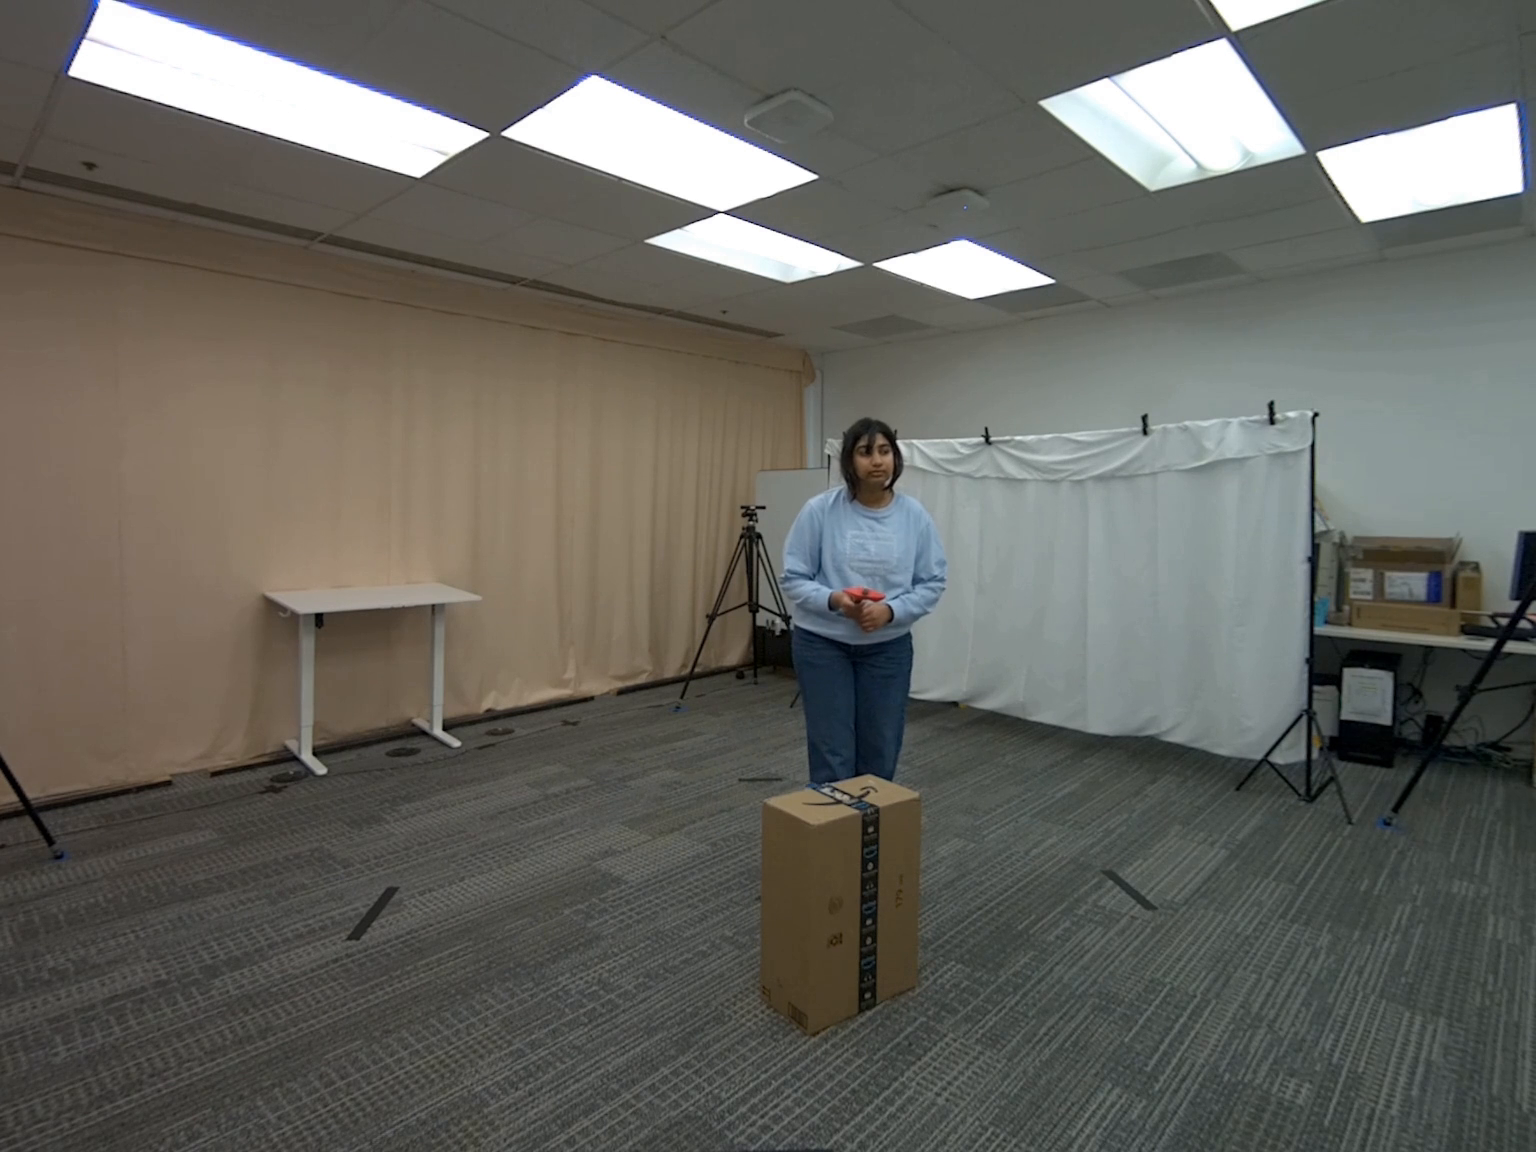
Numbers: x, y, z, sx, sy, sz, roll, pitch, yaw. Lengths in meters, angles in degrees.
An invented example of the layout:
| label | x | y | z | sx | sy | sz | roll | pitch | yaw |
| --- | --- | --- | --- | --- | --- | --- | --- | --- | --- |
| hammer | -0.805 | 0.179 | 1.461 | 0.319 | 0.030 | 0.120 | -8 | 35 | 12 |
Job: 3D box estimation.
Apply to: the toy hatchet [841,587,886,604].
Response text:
| label | x | y | z | sx | sy | sz | roll | pitch | yaw |
| --- | --- | --- | --- | --- | --- | --- | --- | --- | --- |
| toy hatchet | 0.315 | 0.073 | 2.699 | 0.133 | 0.030 | 0.264 | 5 | -9 | 16 |
